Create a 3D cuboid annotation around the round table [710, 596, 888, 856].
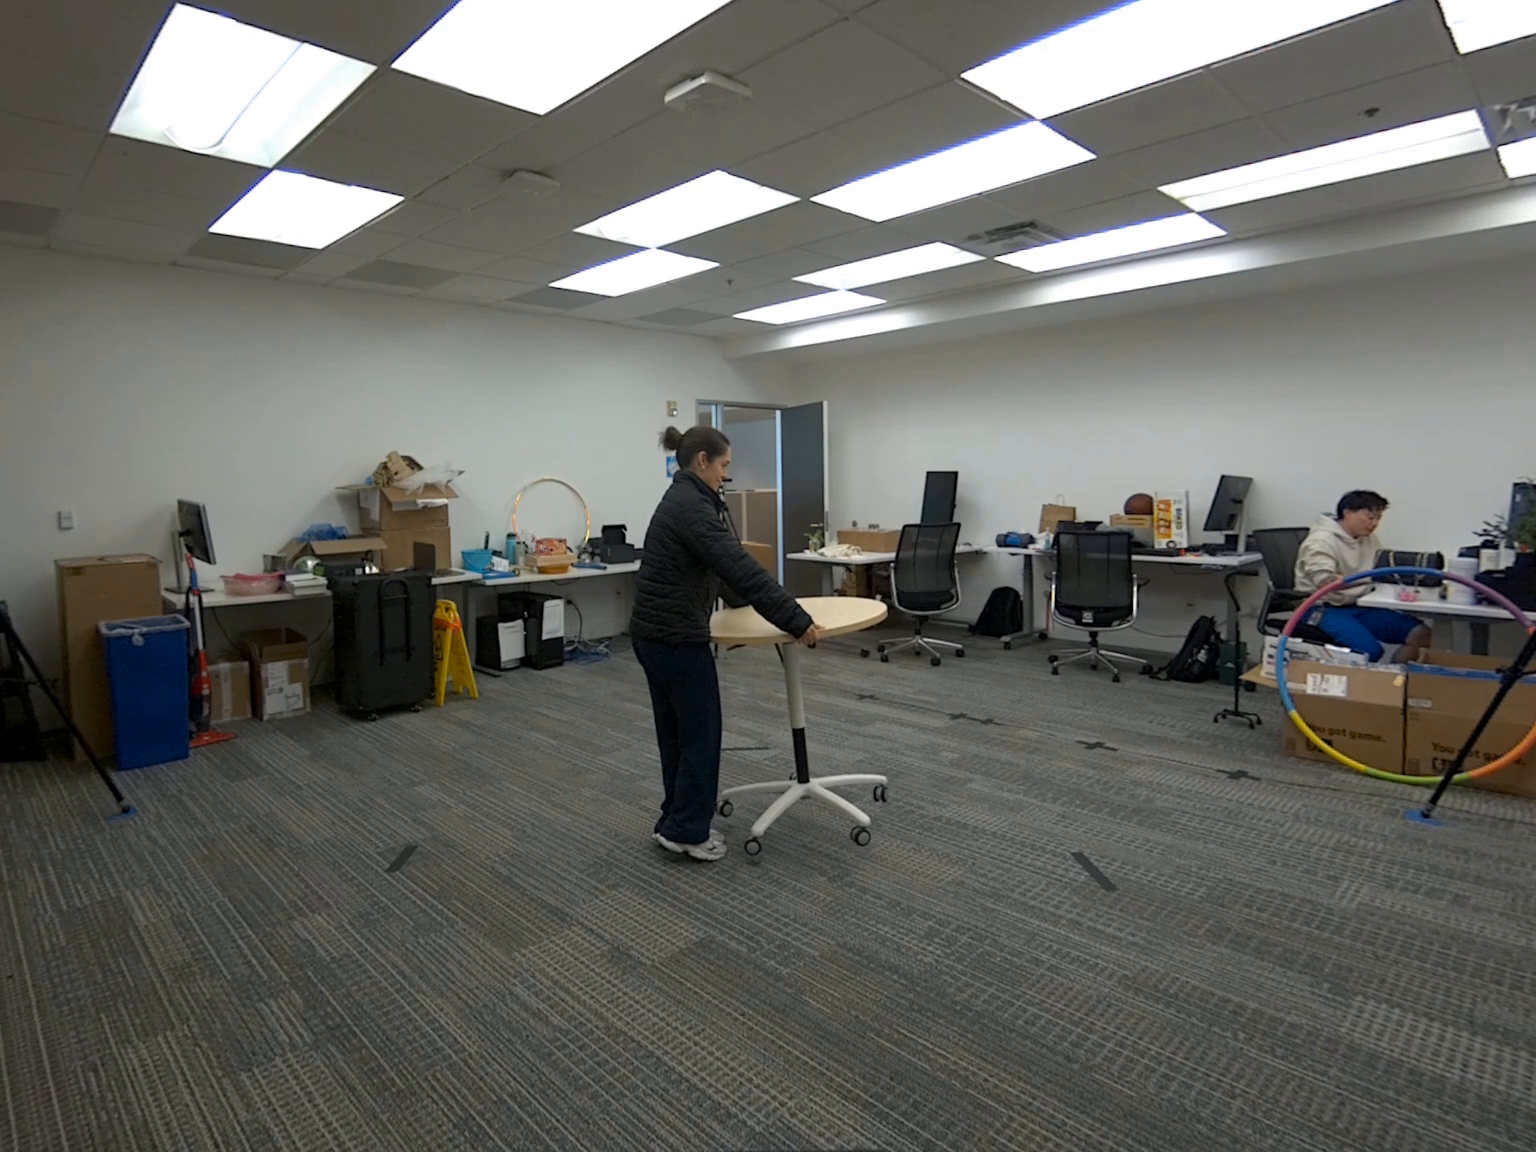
[{"bbox_3d":[0.102,0.546,3.304,0.785,0.783,0.789,-6,5,-1],"label":"round table"}]
